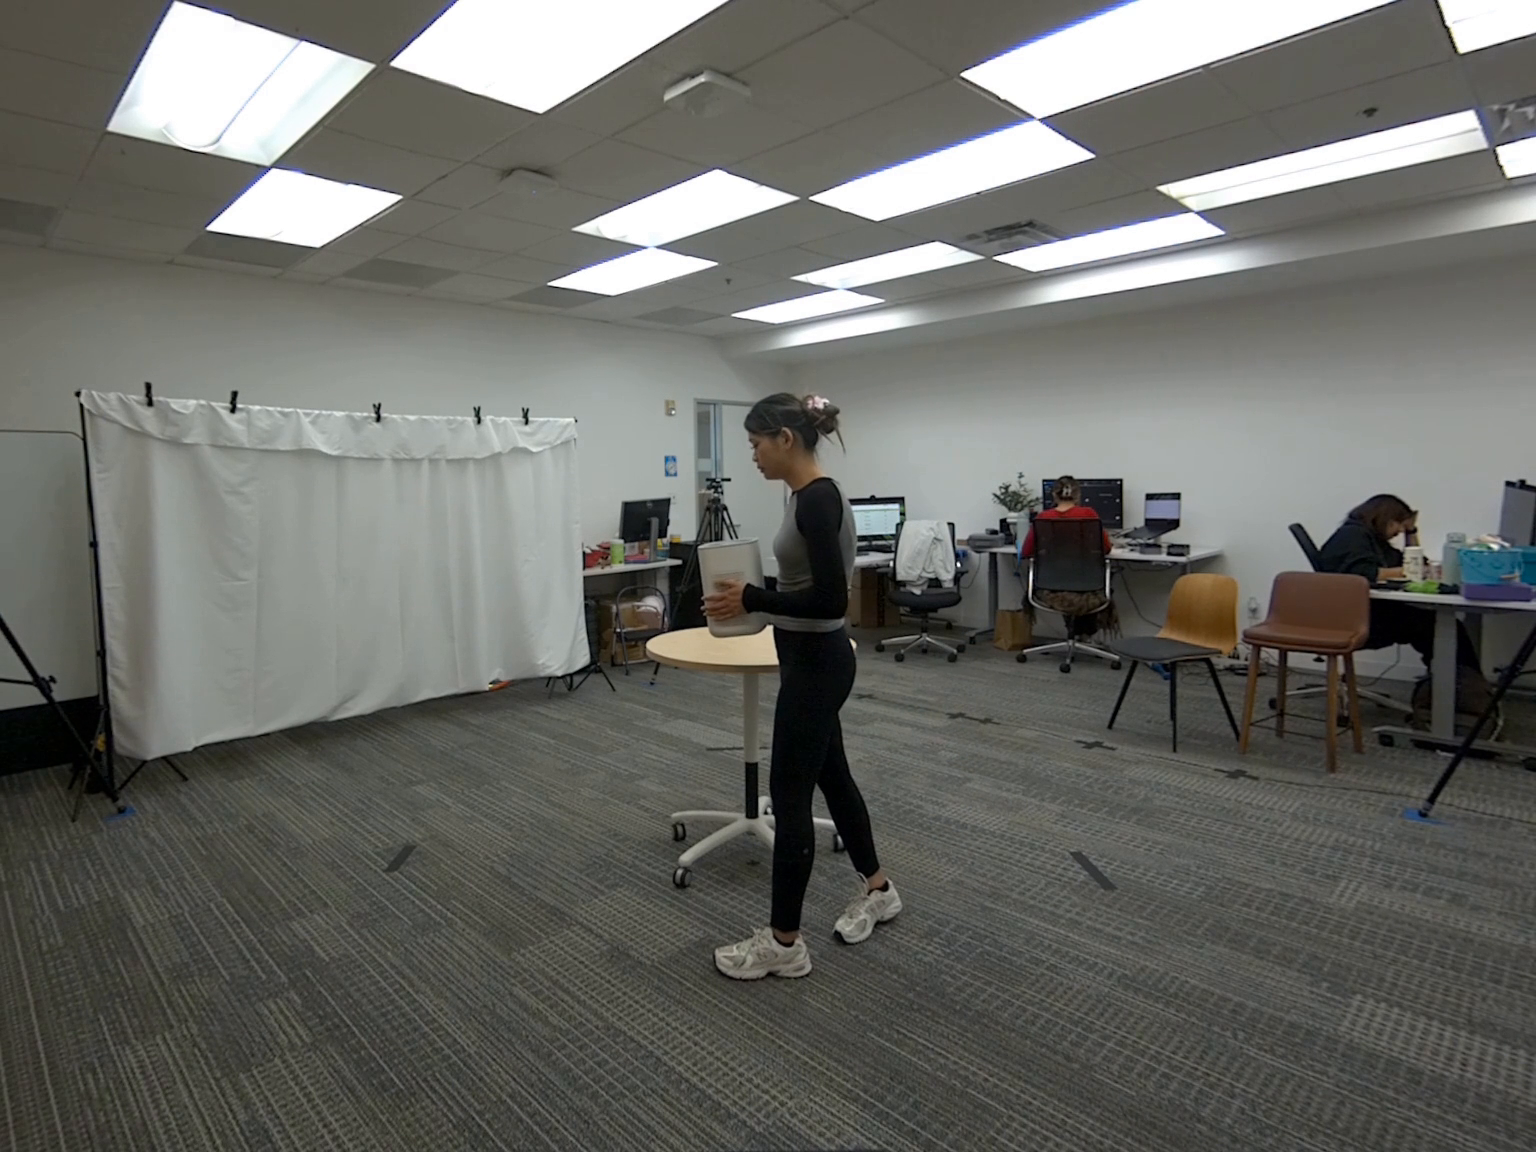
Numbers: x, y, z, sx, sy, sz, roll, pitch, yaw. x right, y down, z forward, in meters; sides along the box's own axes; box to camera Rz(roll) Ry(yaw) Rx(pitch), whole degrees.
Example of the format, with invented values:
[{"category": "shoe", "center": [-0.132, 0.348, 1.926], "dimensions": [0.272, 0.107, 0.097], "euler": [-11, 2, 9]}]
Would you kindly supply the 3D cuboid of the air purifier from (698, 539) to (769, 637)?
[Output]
[{"category": "air purifier", "center": [-0.091, 0.035, 2.456], "dimensions": [0.173, 0.264, 0.170], "euler": [-5, 7, 12]}]
